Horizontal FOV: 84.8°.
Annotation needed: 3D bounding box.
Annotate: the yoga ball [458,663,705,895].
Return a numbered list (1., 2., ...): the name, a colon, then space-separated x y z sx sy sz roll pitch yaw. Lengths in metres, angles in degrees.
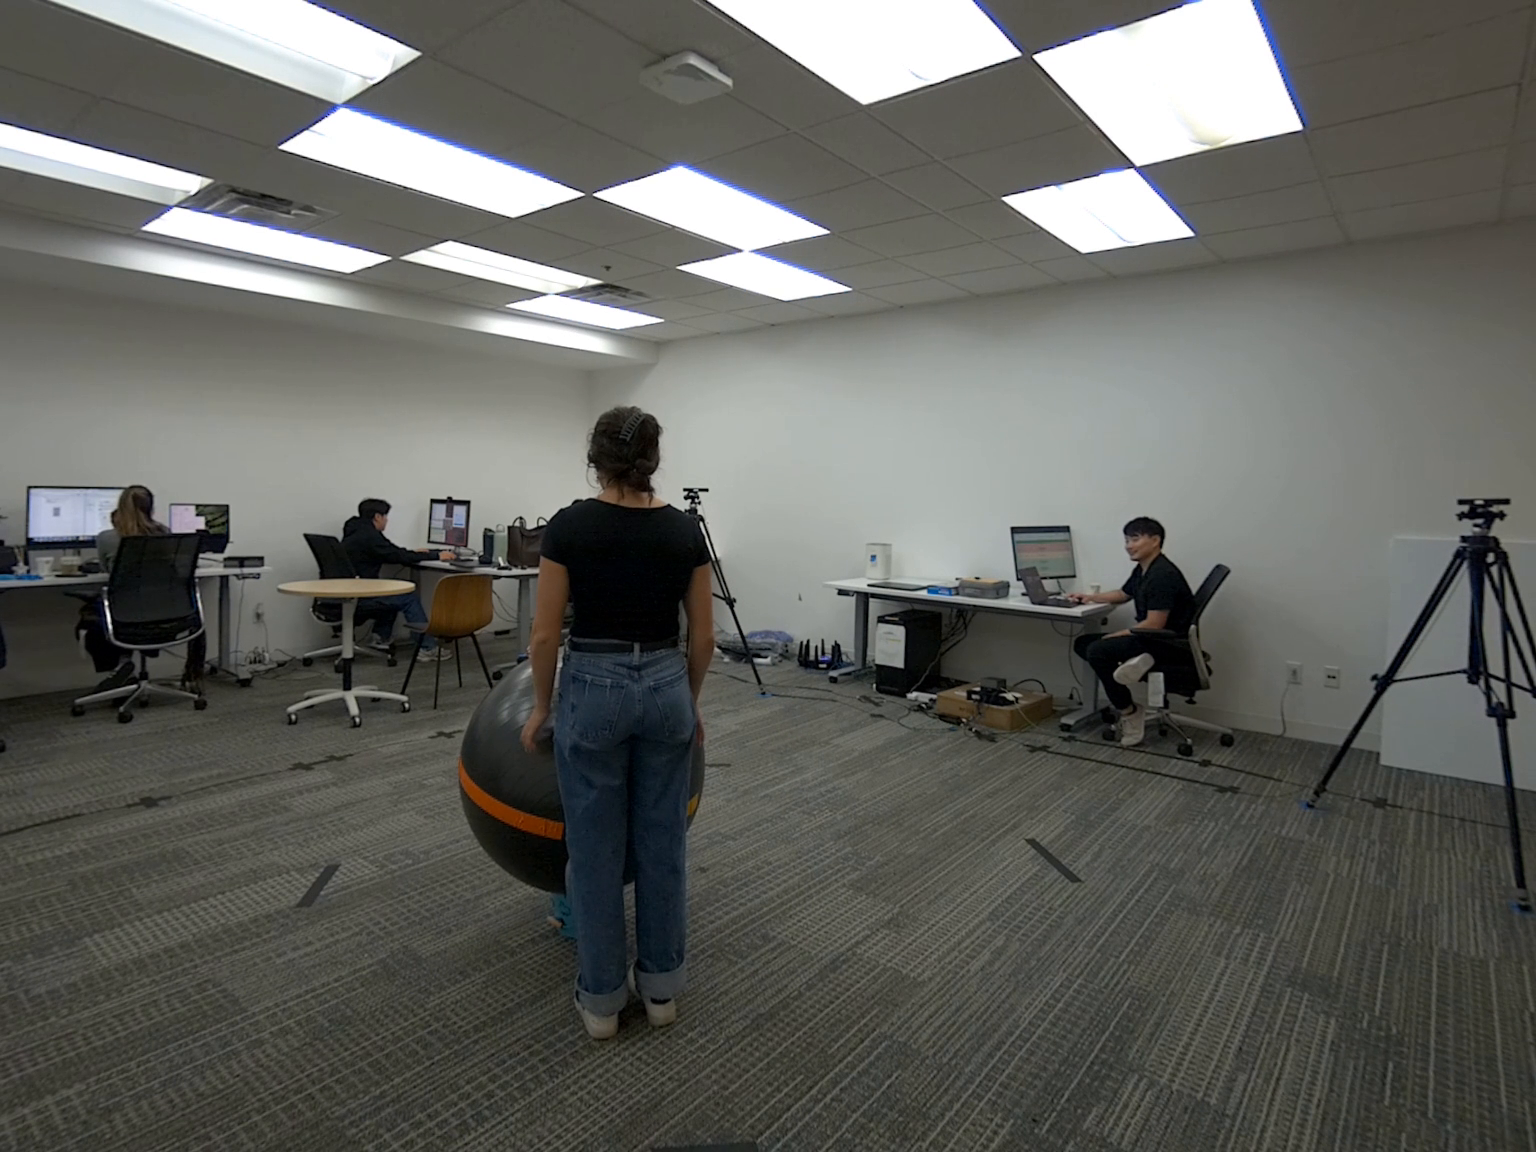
1. yoga ball: -0.590 0.597 2.682 0.757 0.756 0.762 1 4 -2
